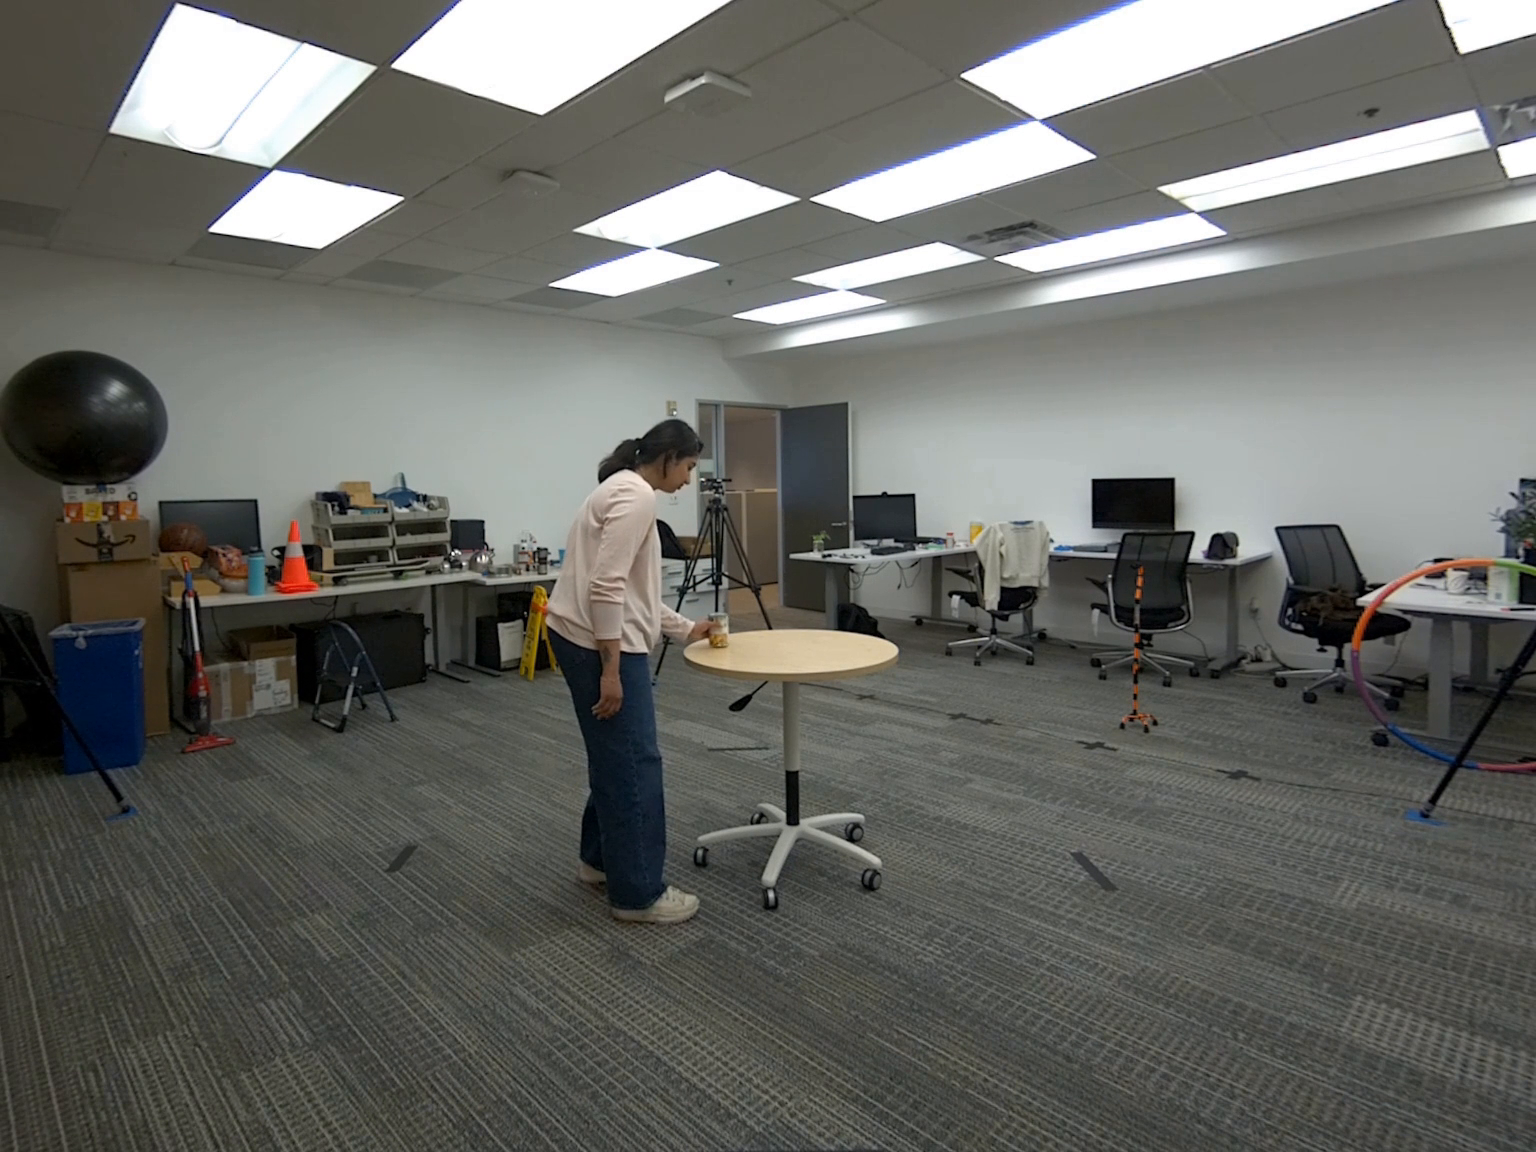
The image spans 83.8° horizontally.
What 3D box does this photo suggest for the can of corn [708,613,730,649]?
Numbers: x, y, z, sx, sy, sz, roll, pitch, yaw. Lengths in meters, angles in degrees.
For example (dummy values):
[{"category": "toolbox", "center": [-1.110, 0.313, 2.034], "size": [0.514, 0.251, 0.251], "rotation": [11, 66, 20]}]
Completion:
[{"category": "can of corn", "center": [-0.182, 0.194, 3.131], "size": [0.074, 0.110, 0.075], "rotation": [-1, 6, -2]}]
